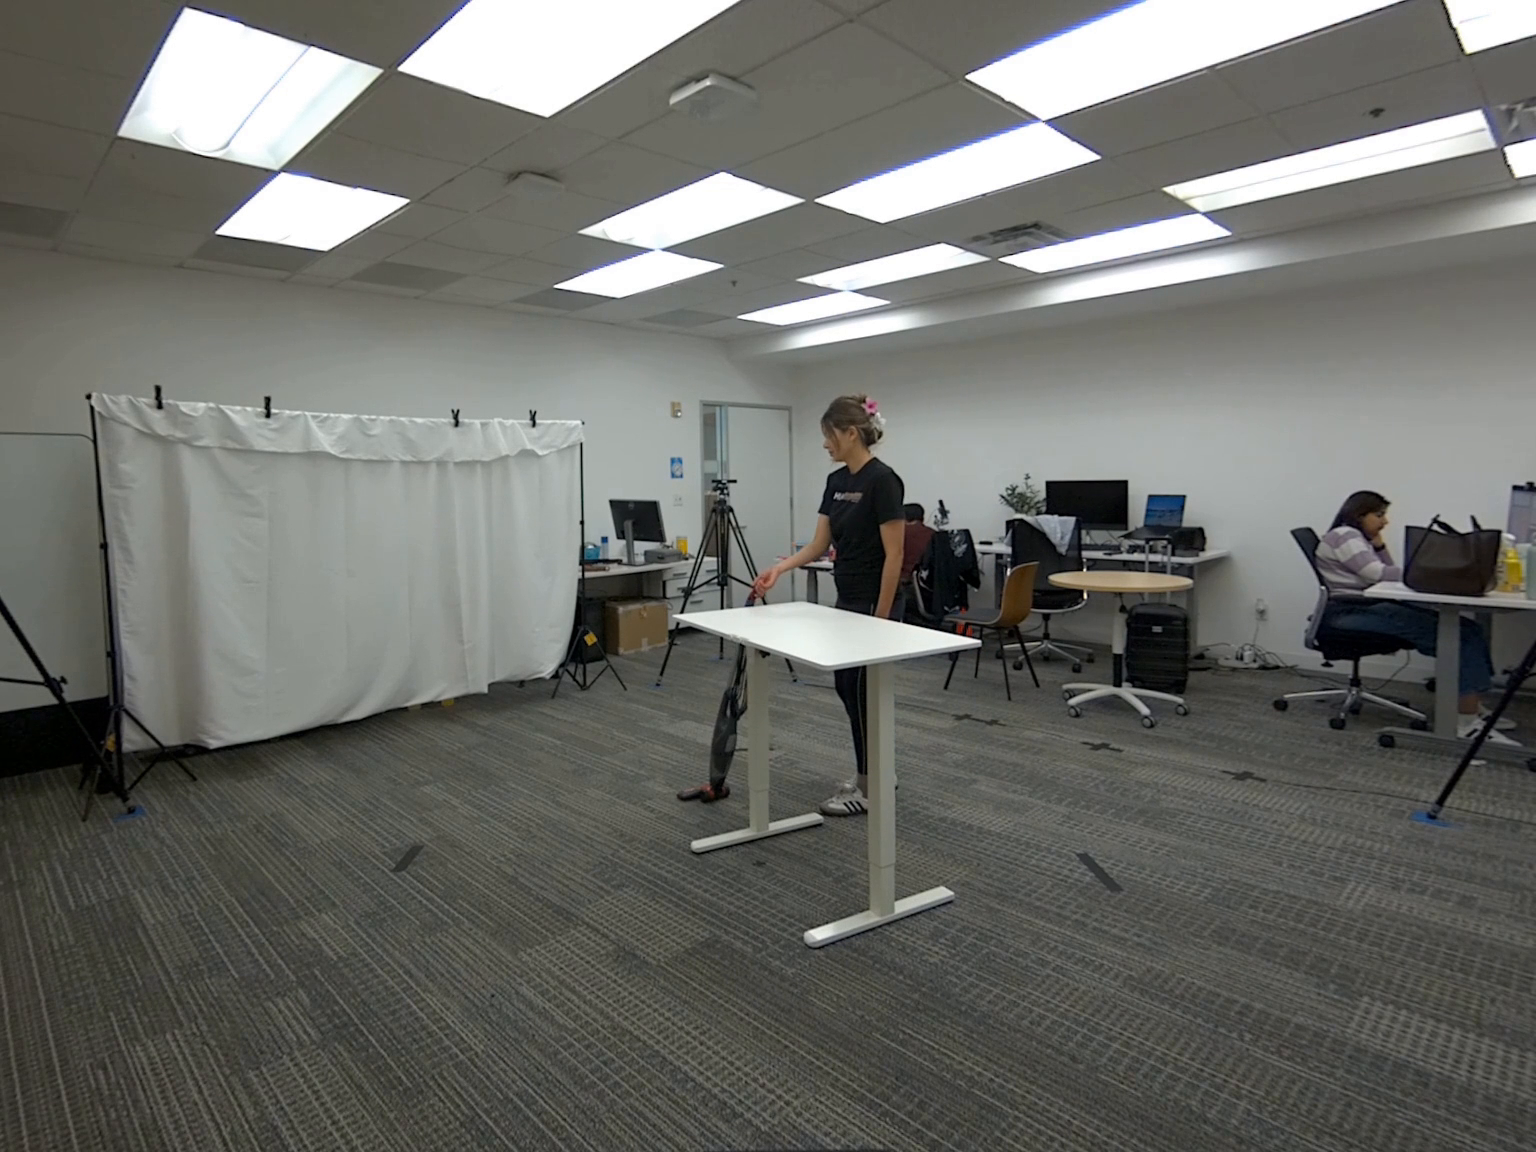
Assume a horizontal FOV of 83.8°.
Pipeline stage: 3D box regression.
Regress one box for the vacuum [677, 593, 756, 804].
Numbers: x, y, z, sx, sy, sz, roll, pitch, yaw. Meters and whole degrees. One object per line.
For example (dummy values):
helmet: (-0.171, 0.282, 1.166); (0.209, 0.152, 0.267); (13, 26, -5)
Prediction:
vacuum: (-0.142, 0.505, 3.624); (0.149, 1.038, 0.246); (29, 22, 35)
